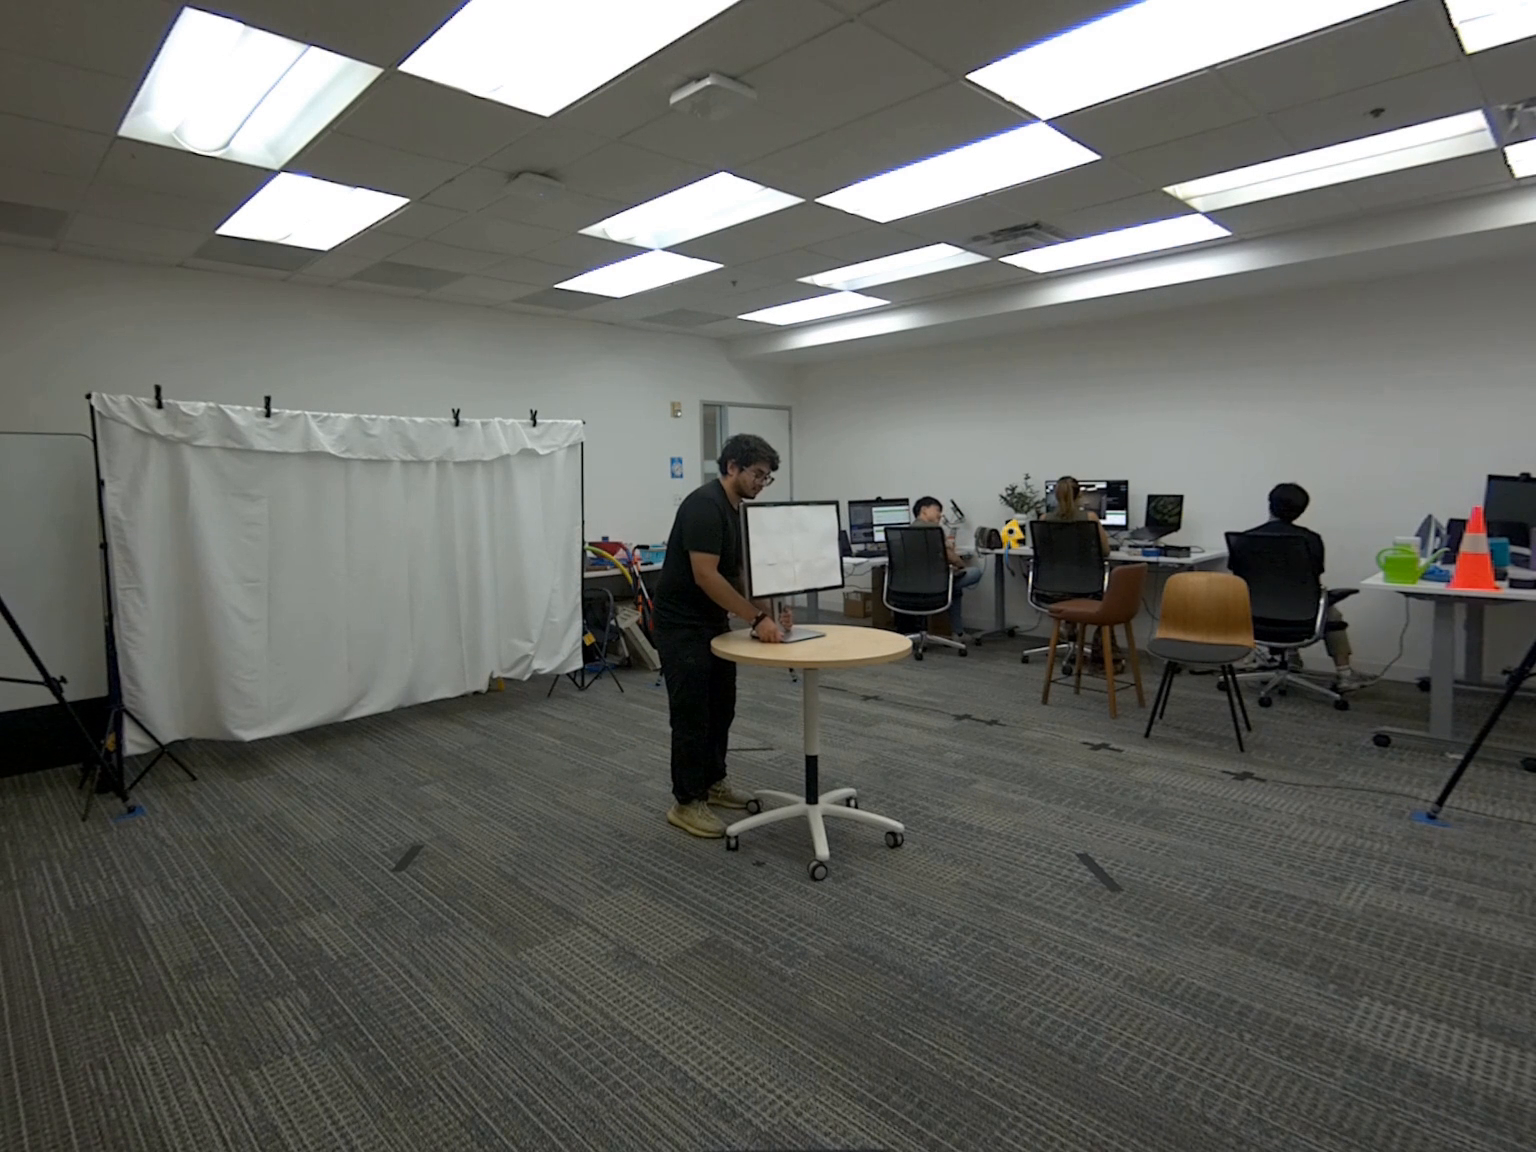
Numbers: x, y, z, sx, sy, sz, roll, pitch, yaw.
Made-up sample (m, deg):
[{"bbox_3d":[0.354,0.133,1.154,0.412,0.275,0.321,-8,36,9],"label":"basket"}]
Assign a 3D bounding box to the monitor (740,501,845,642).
[{"bbox_3d":[0.058,-0.026,3.389,0.550,0.553,0.216,-5,4,-43],"label":"monitor"}]
